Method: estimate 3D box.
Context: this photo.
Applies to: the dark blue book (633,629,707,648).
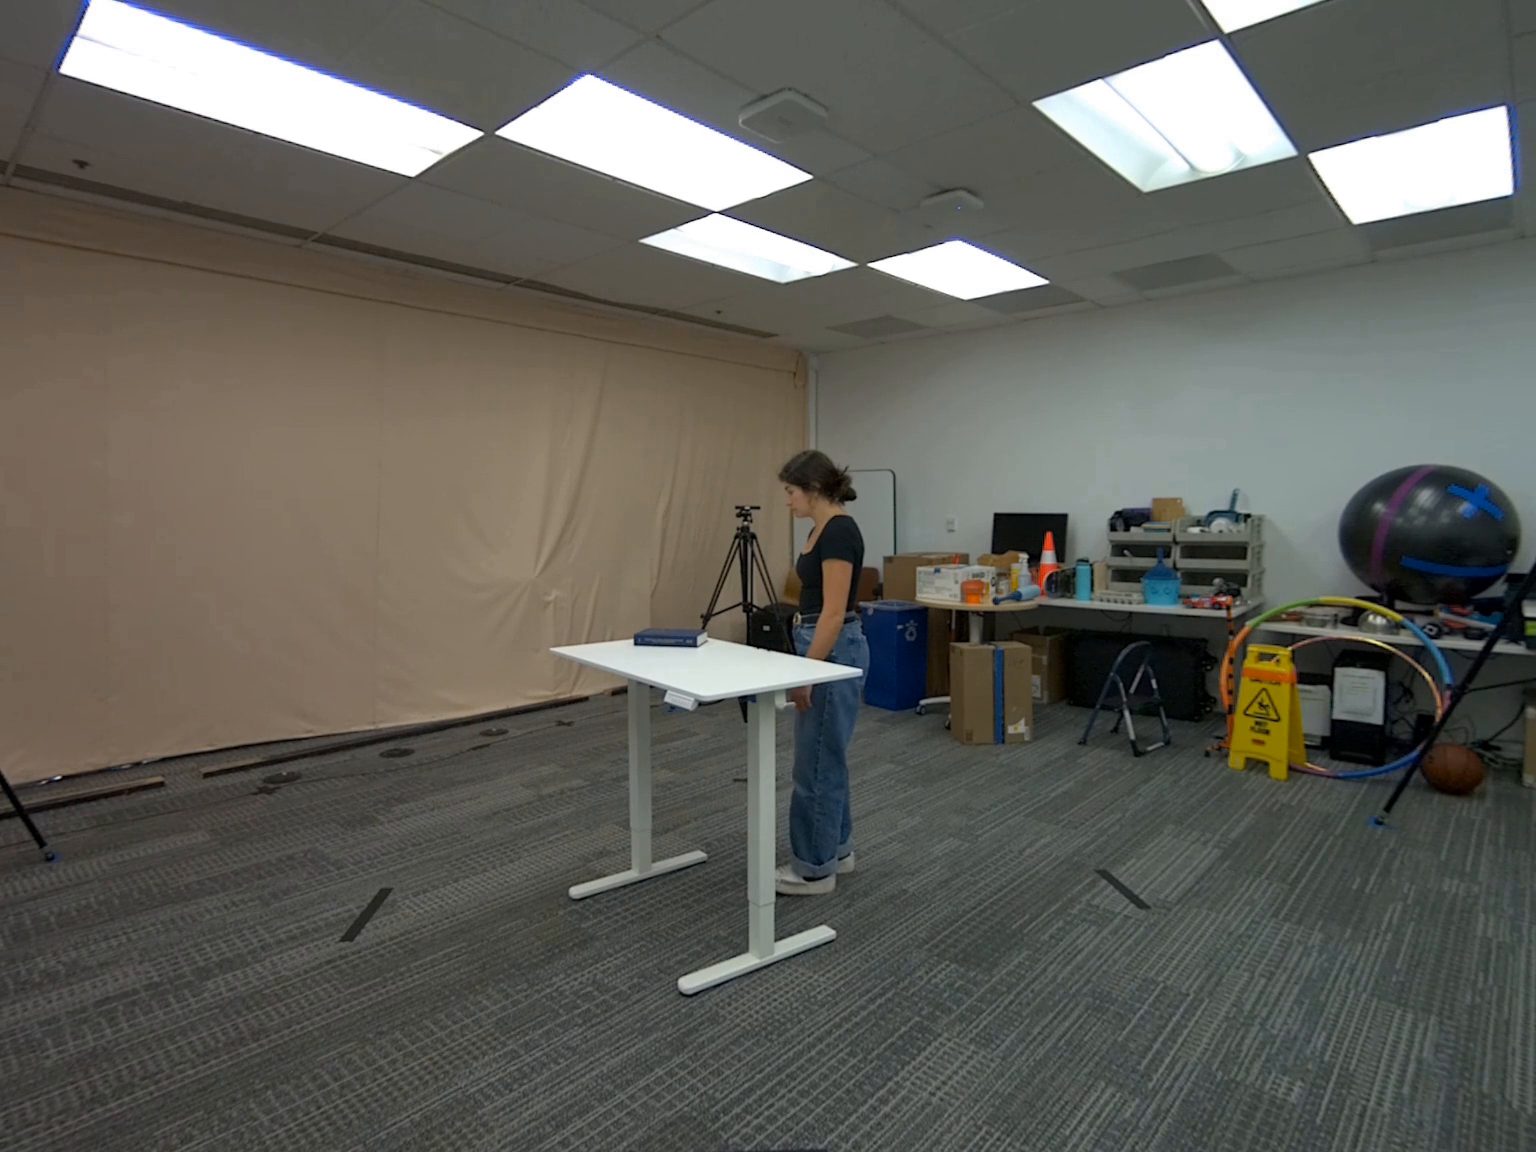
[{"bbox_3d":[-0.362,0.235,3.142,0.249,0.045,0.161,-1,3,13],"label":"dark blue book"}]
